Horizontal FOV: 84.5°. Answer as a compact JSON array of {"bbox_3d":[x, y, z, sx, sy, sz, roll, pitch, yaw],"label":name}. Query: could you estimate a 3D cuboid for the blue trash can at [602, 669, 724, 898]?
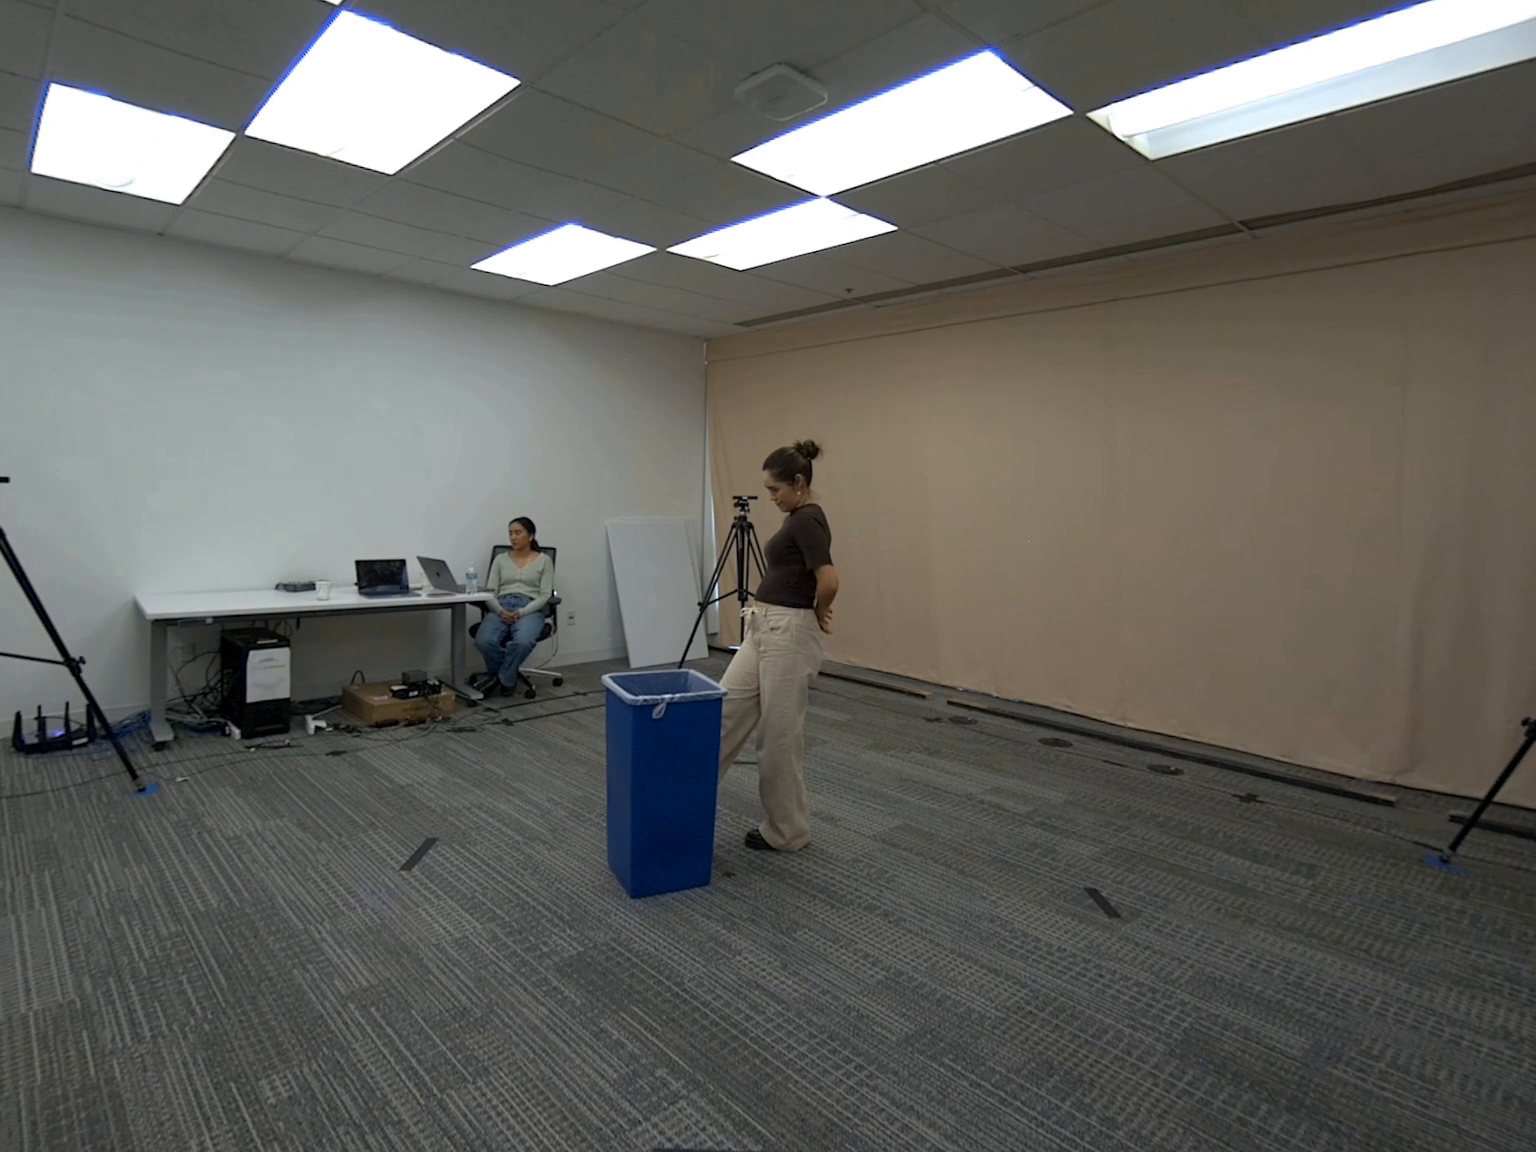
[{"bbox_3d":[-0.394,0.739,3.067,0.367,0.711,0.386,-1,6,-27],"label":"blue trash can"}]
